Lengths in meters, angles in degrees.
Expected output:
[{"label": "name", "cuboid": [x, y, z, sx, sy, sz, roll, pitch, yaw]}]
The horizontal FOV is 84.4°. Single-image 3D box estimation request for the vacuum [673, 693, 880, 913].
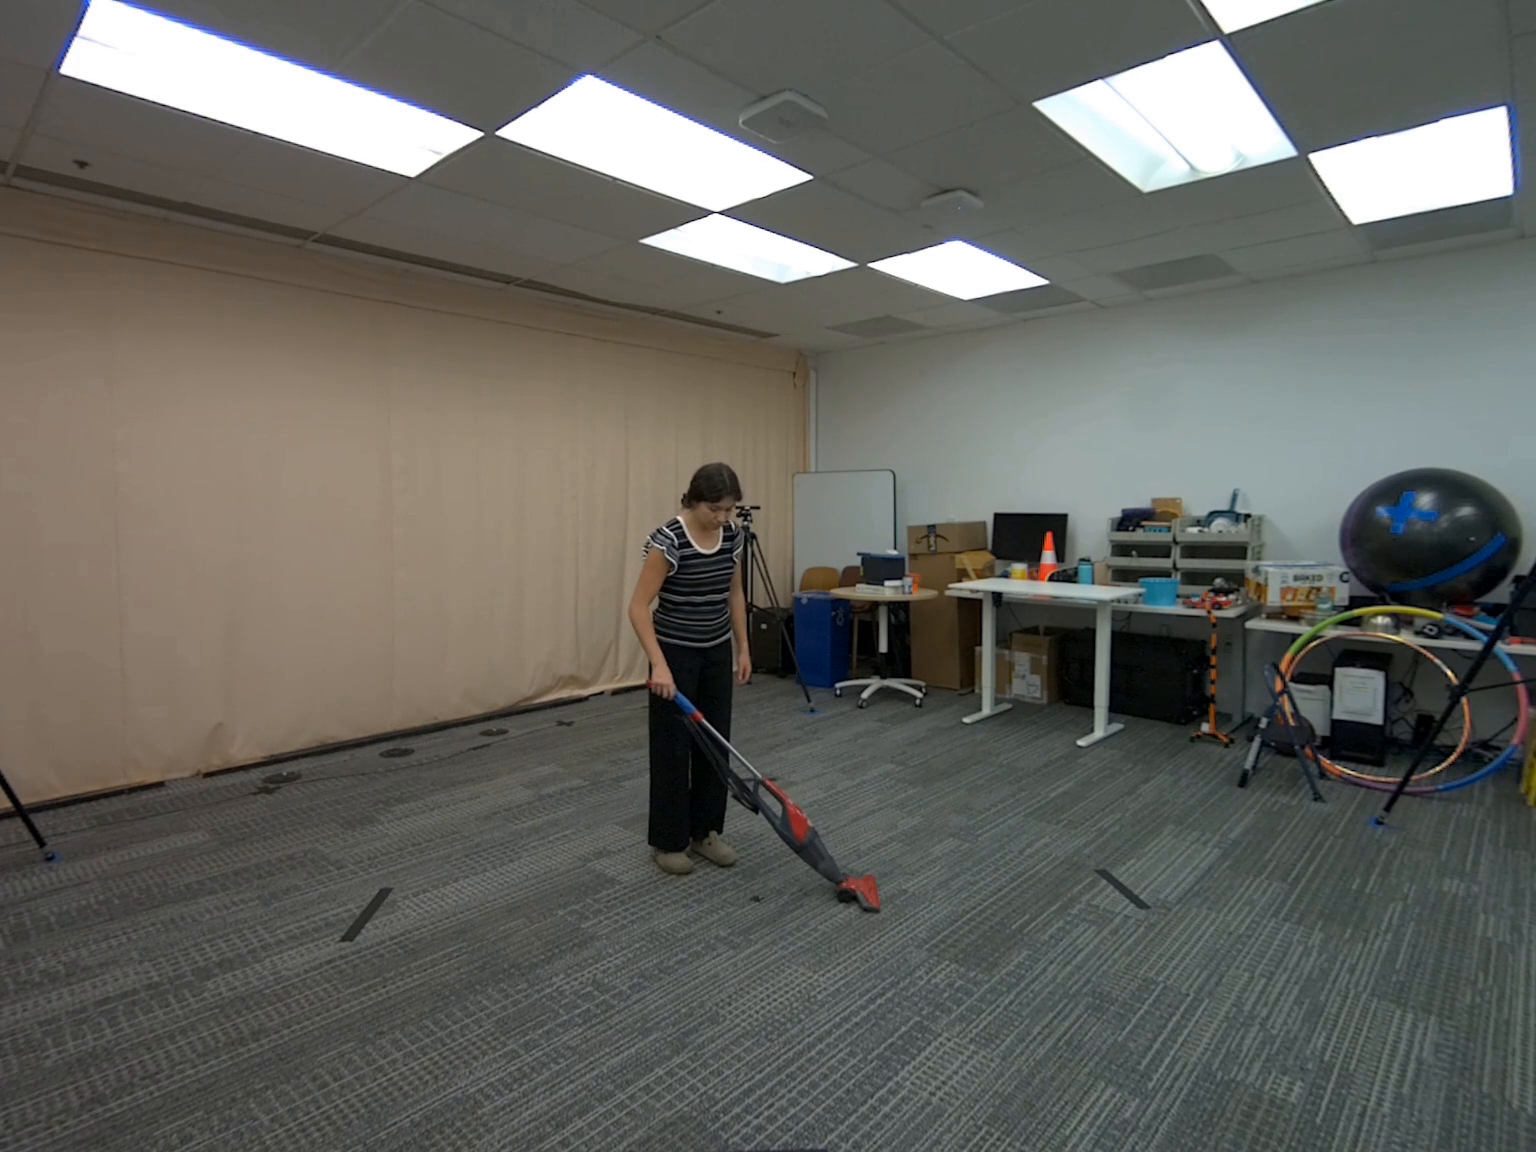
[{"label": "vacuum", "cuboid": [-0.043, 0.761, 3.039, 1.054, 0.144, 0.250, 45, 11, 3]}]
